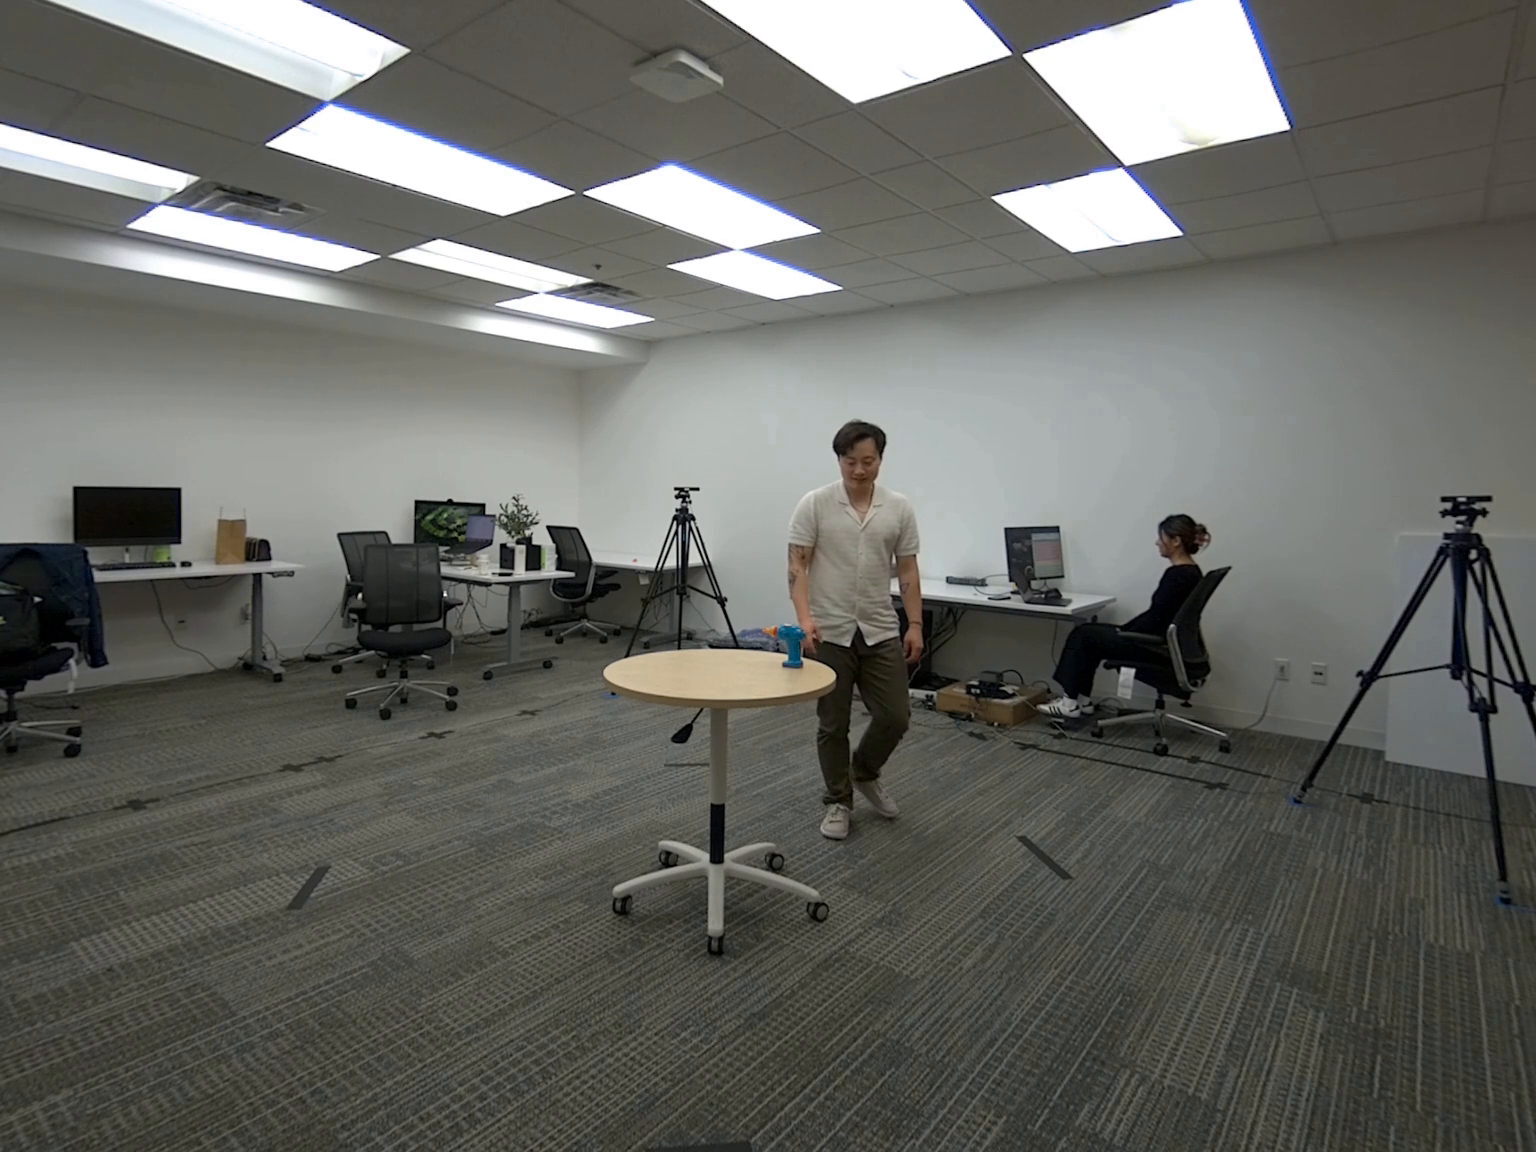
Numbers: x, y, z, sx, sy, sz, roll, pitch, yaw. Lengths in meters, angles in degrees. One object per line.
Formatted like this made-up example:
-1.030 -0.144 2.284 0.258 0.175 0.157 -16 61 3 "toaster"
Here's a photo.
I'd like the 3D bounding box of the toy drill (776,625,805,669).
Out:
0.039 0.232 2.915 0.175 0.145 0.059 4 4 32 "toy drill"
